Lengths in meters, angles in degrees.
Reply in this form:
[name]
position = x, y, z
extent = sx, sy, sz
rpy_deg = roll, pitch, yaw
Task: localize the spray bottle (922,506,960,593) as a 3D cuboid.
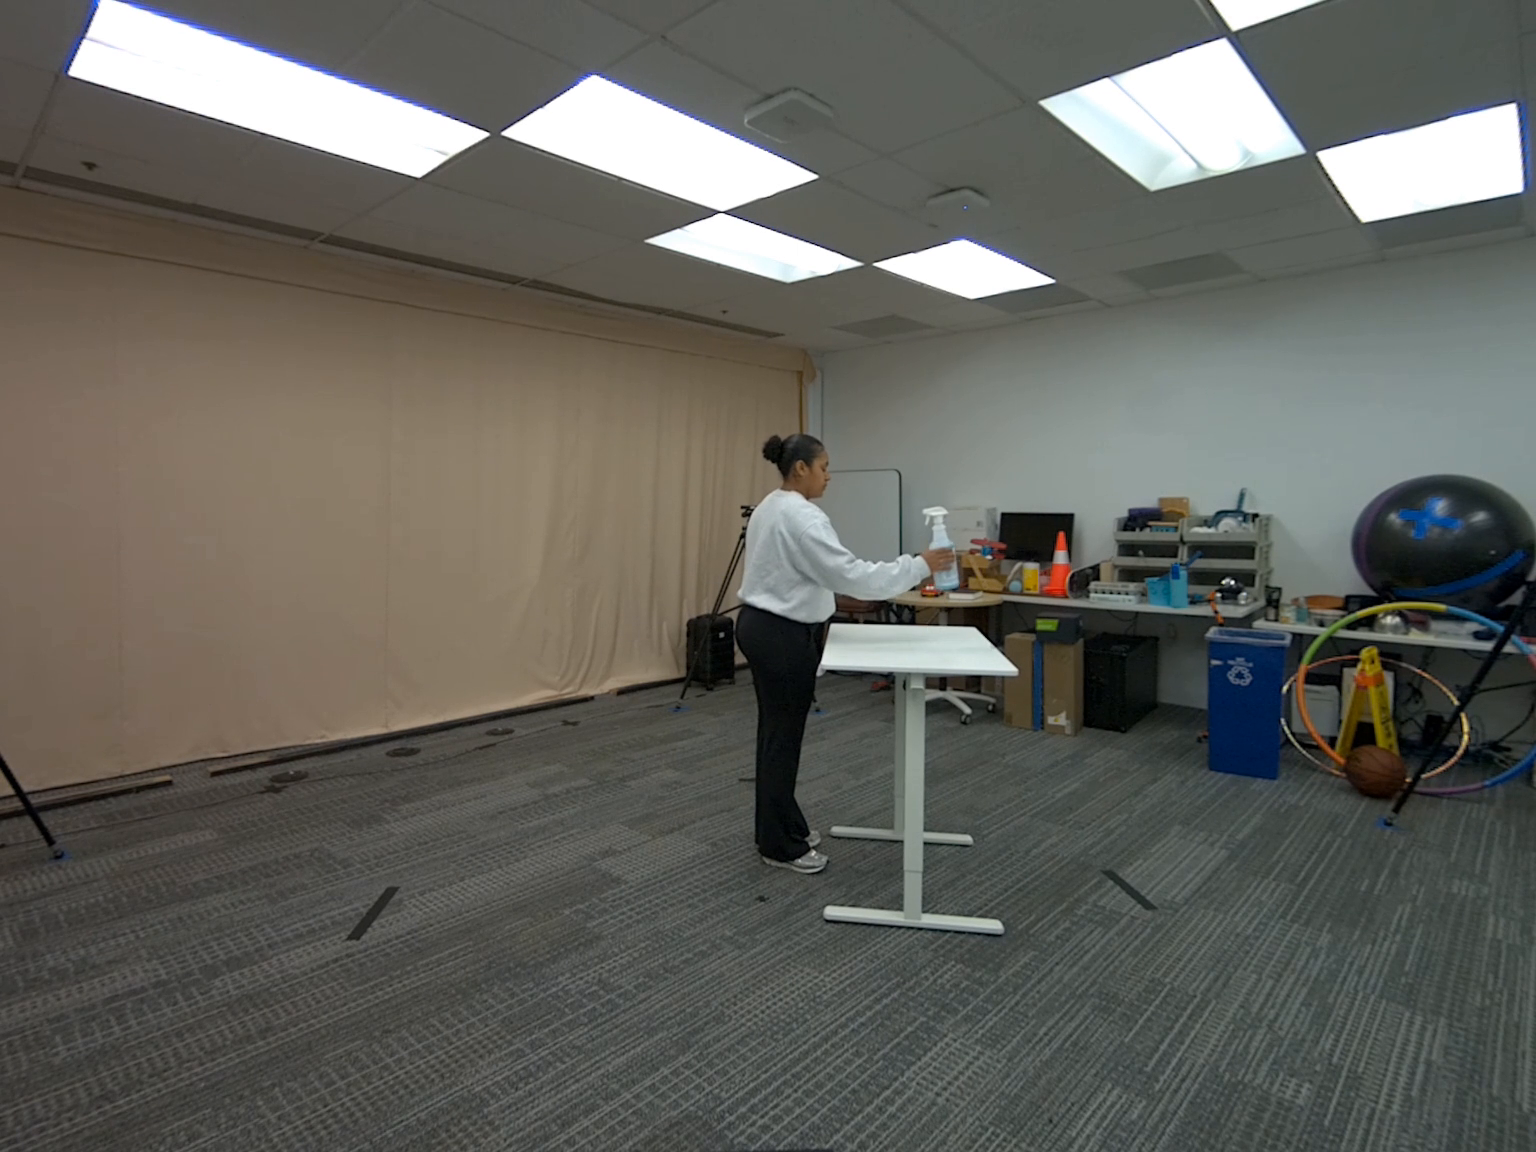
[spray bottle]
position = 0.630, -0.088, 3.023
extent = 0.091, 0.295, 0.086
rpy_deg = -7, 11, 15
